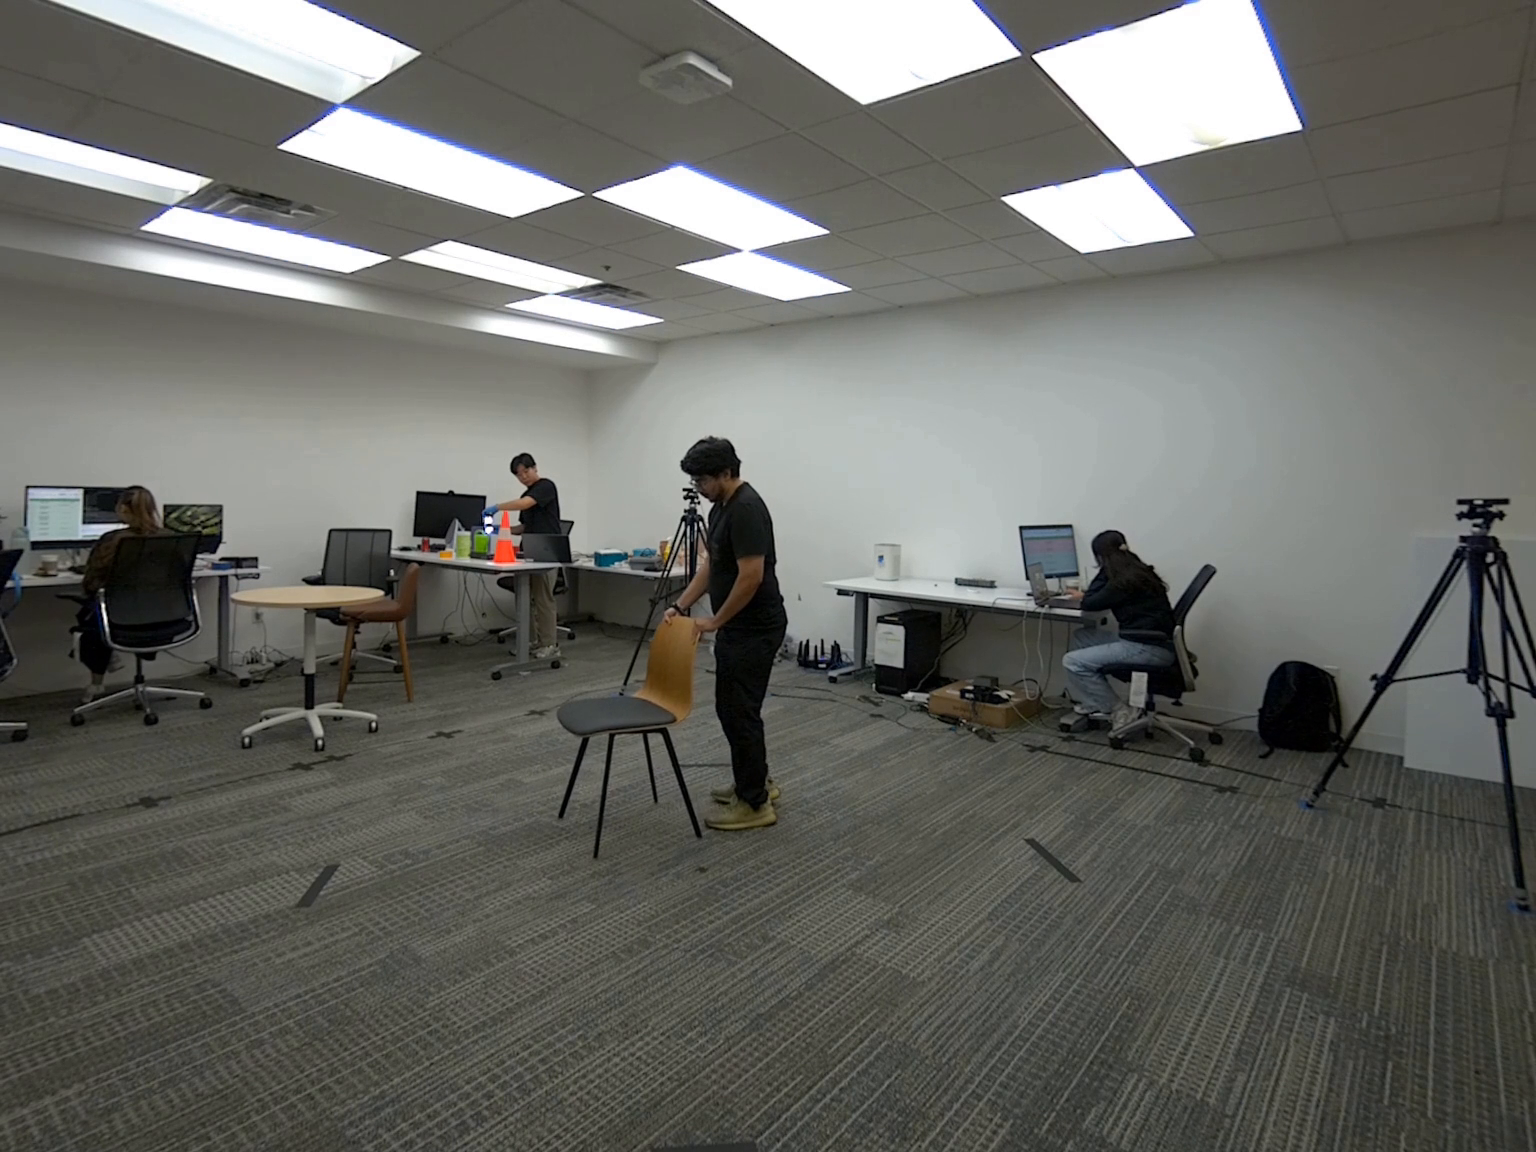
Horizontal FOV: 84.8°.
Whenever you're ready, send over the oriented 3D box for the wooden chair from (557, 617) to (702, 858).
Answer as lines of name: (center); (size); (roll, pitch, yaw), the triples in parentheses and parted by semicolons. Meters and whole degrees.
wooden chair: (-0.584, 0.604, 3.448); (0.508, 0.876, 0.492); (4, 2, -30)
